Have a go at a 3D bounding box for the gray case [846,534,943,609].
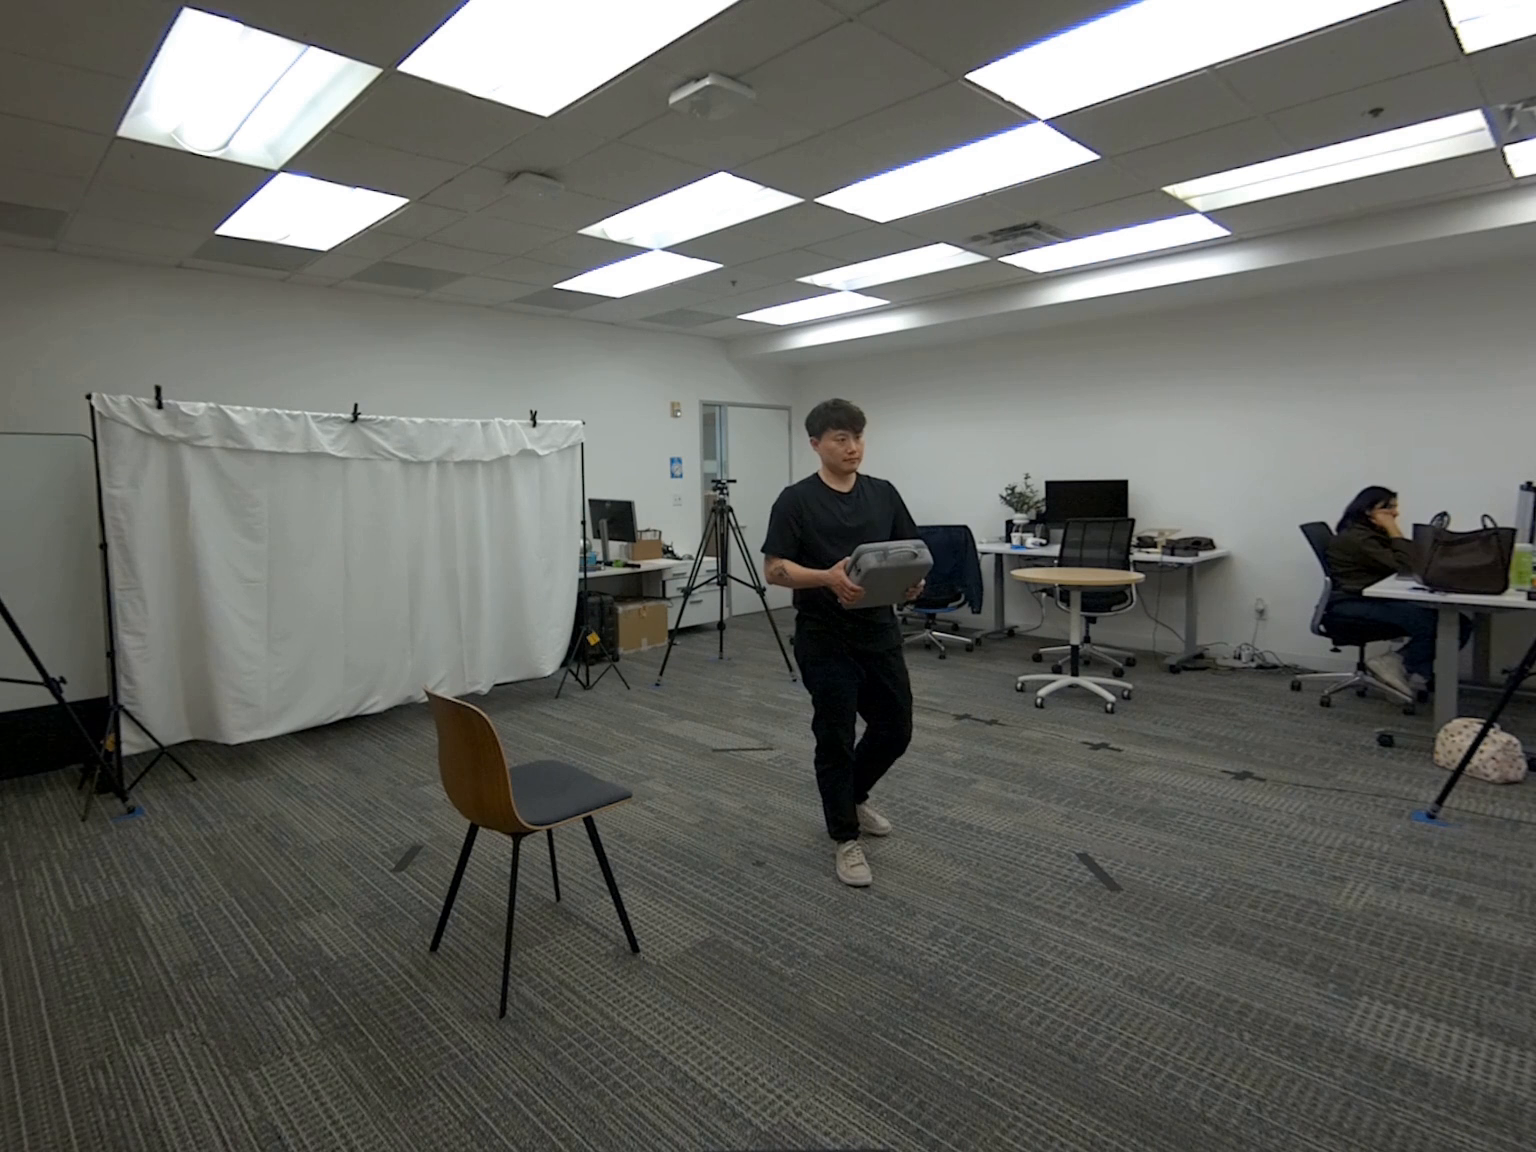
[{"bbox_3d":[0.378,-0.006,2.772,0.252,0.107,0.257,-6,-31,-21],"label":"gray case"}]
